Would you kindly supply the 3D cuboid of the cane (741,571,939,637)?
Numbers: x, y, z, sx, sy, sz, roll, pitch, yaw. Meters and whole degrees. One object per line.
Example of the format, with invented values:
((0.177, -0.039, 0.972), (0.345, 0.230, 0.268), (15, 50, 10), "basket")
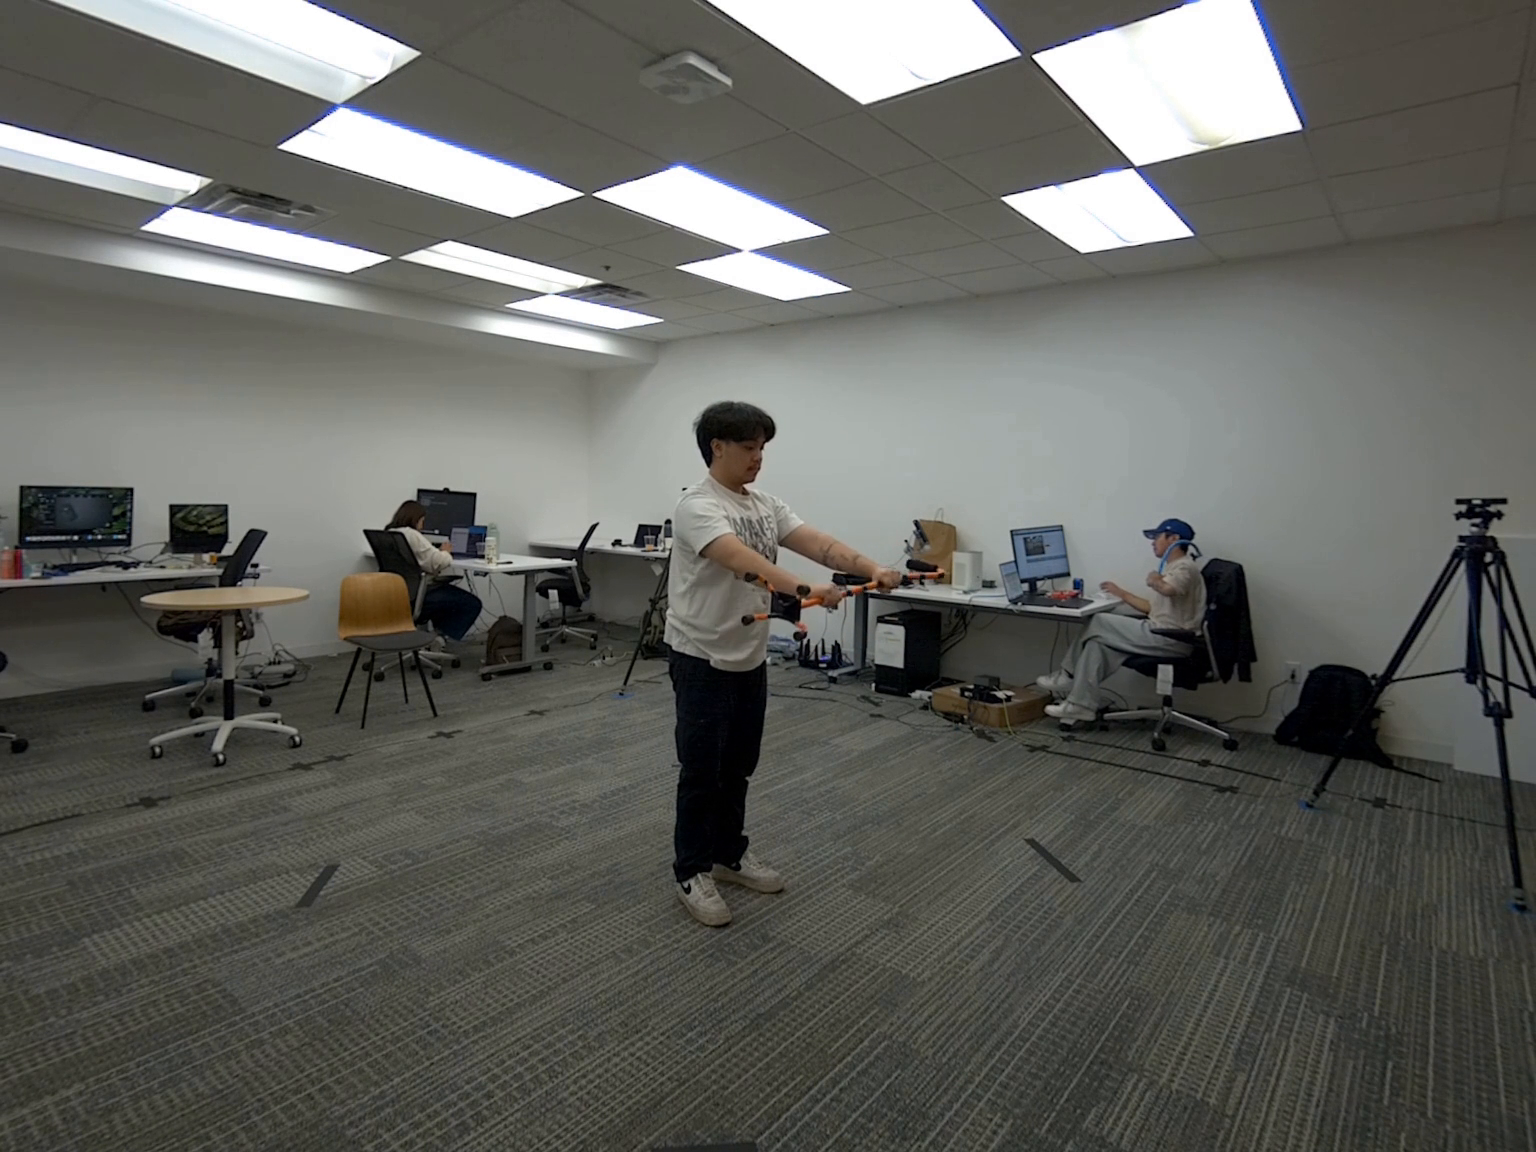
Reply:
((0.286, 0.013, 2.588), (0.214, 0.150, 0.884), (14, 16, 39), "cane")
